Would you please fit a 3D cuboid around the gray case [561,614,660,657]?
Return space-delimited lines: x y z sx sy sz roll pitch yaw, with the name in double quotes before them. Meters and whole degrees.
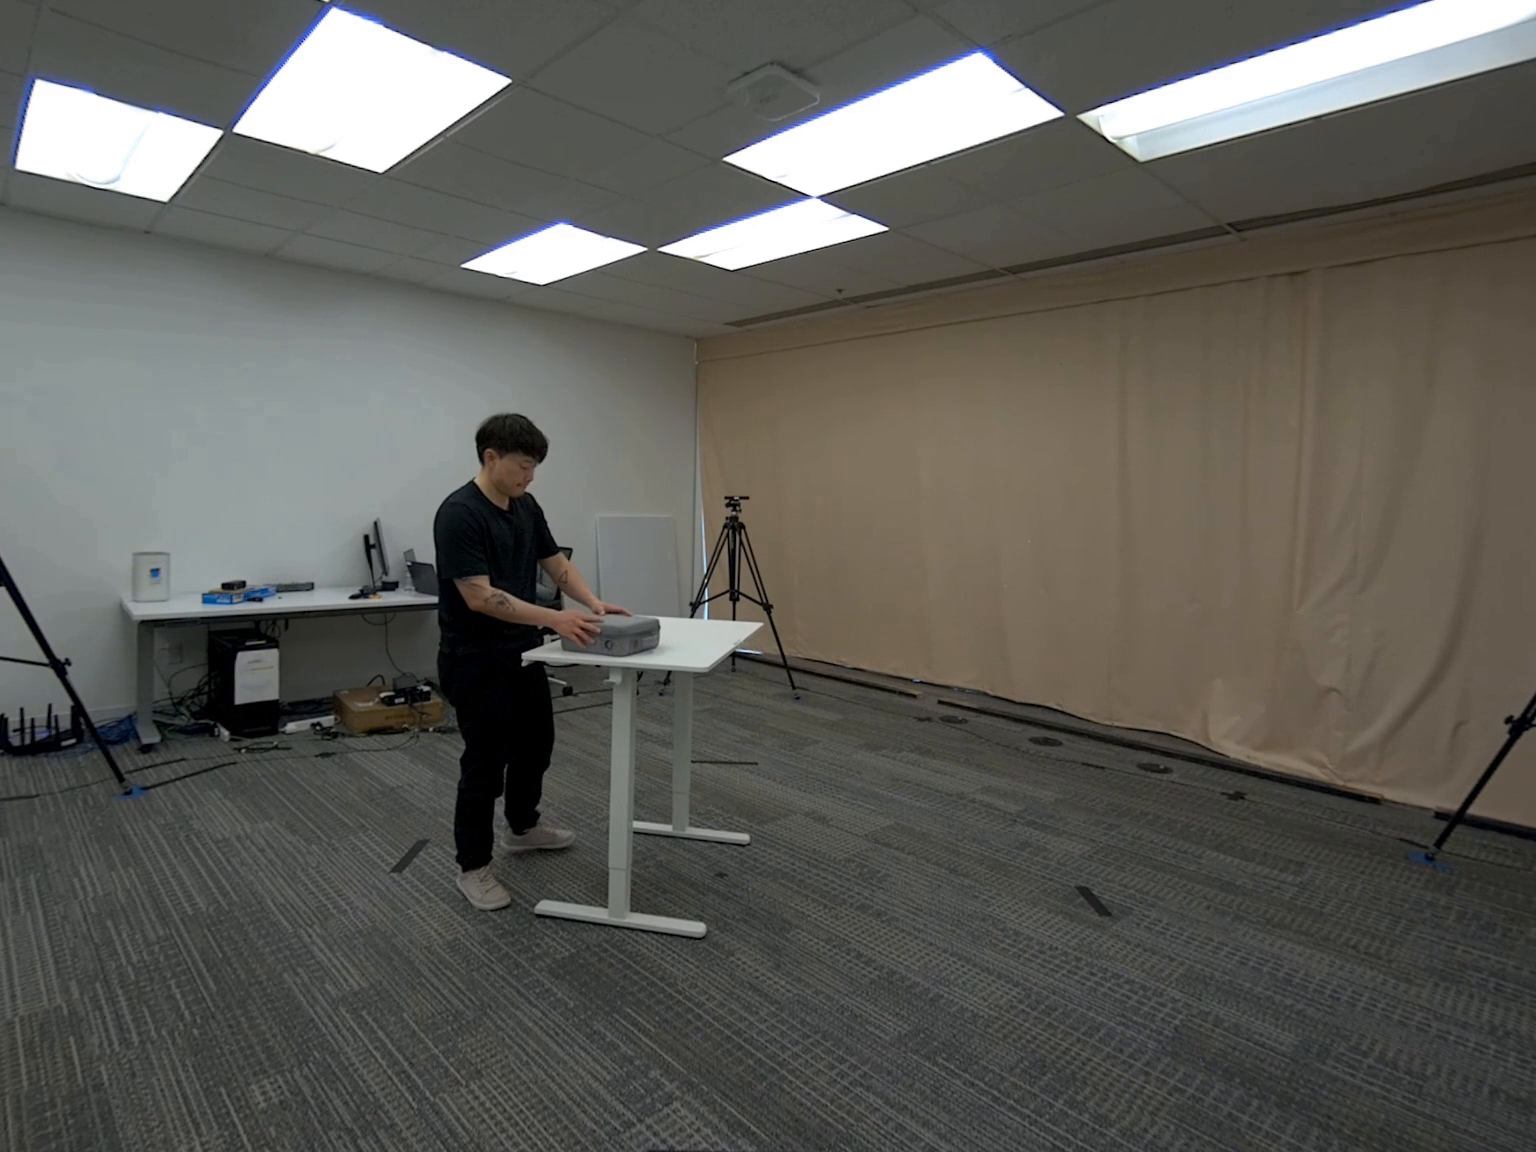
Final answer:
"gray case" -0.516 0.192 2.773 0.265 0.104 0.253 2 4 23
